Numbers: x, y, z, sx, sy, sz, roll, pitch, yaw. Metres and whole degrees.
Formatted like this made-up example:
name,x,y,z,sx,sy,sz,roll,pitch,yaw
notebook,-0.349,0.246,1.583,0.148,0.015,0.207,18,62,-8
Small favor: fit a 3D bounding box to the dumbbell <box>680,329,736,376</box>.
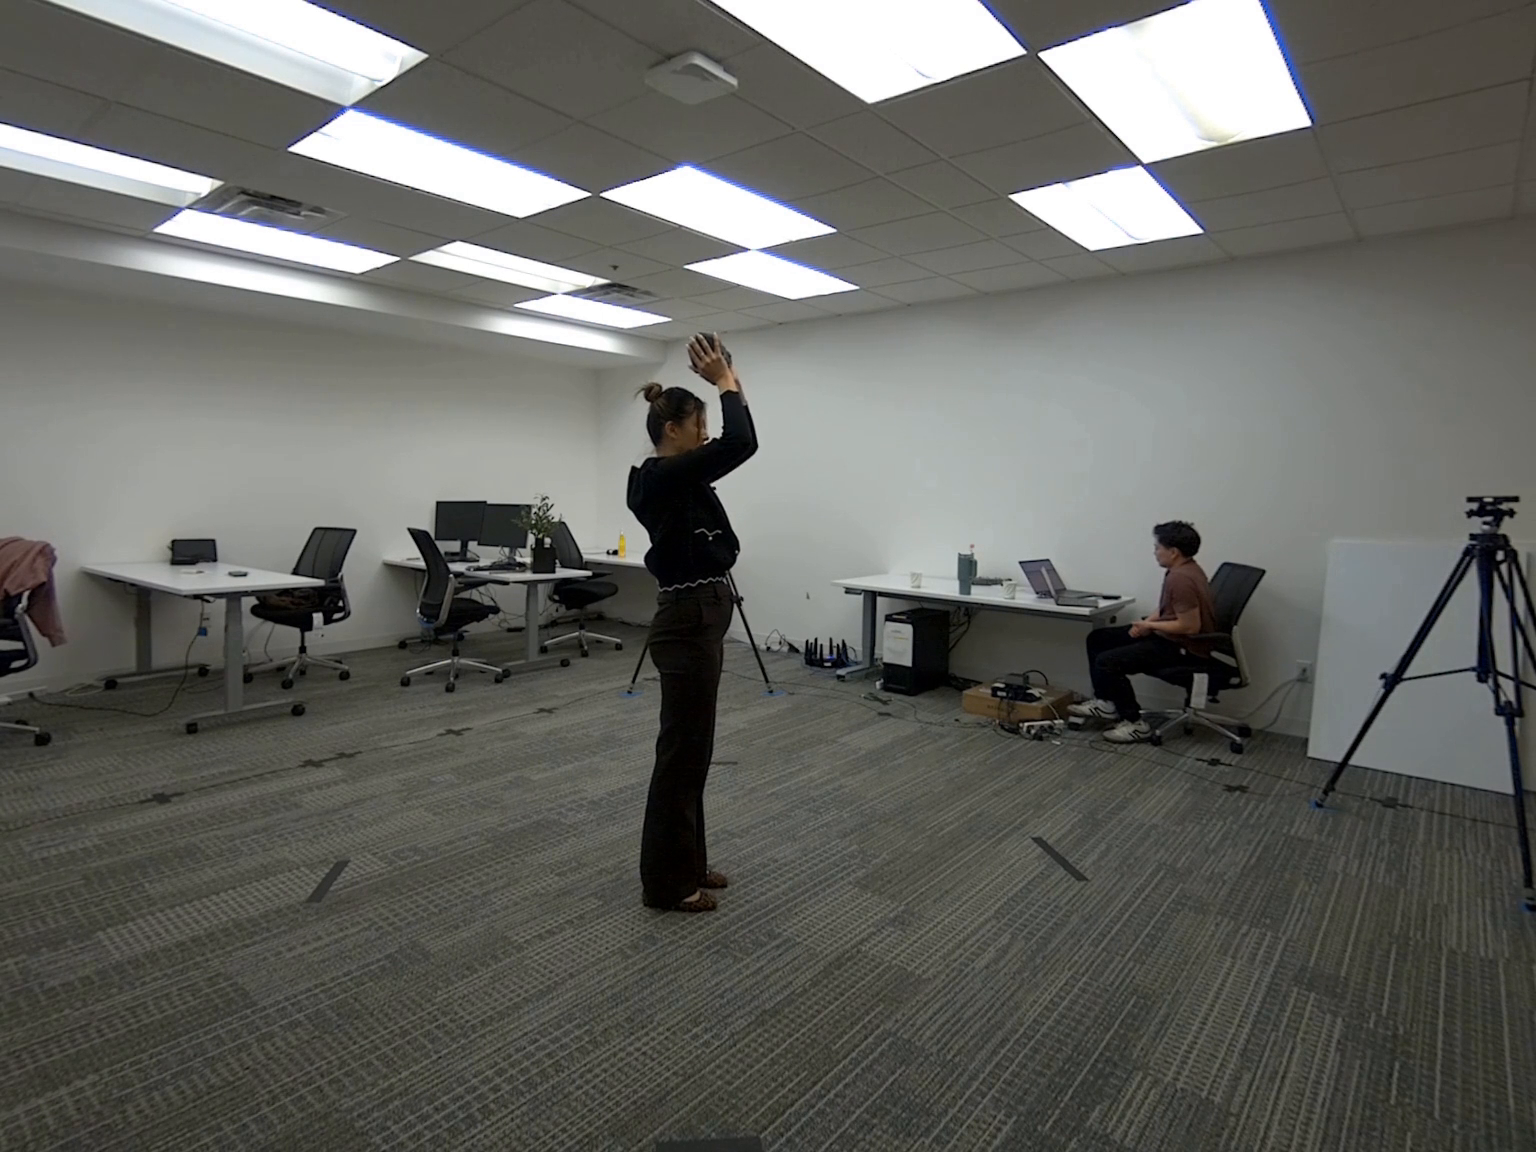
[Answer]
name,x,y,z,sx,sy,sz,roll,pitch,yaw
dumbbell,-0.197,-0.725,2.788,0.123,0.108,0.293,14,7,2
